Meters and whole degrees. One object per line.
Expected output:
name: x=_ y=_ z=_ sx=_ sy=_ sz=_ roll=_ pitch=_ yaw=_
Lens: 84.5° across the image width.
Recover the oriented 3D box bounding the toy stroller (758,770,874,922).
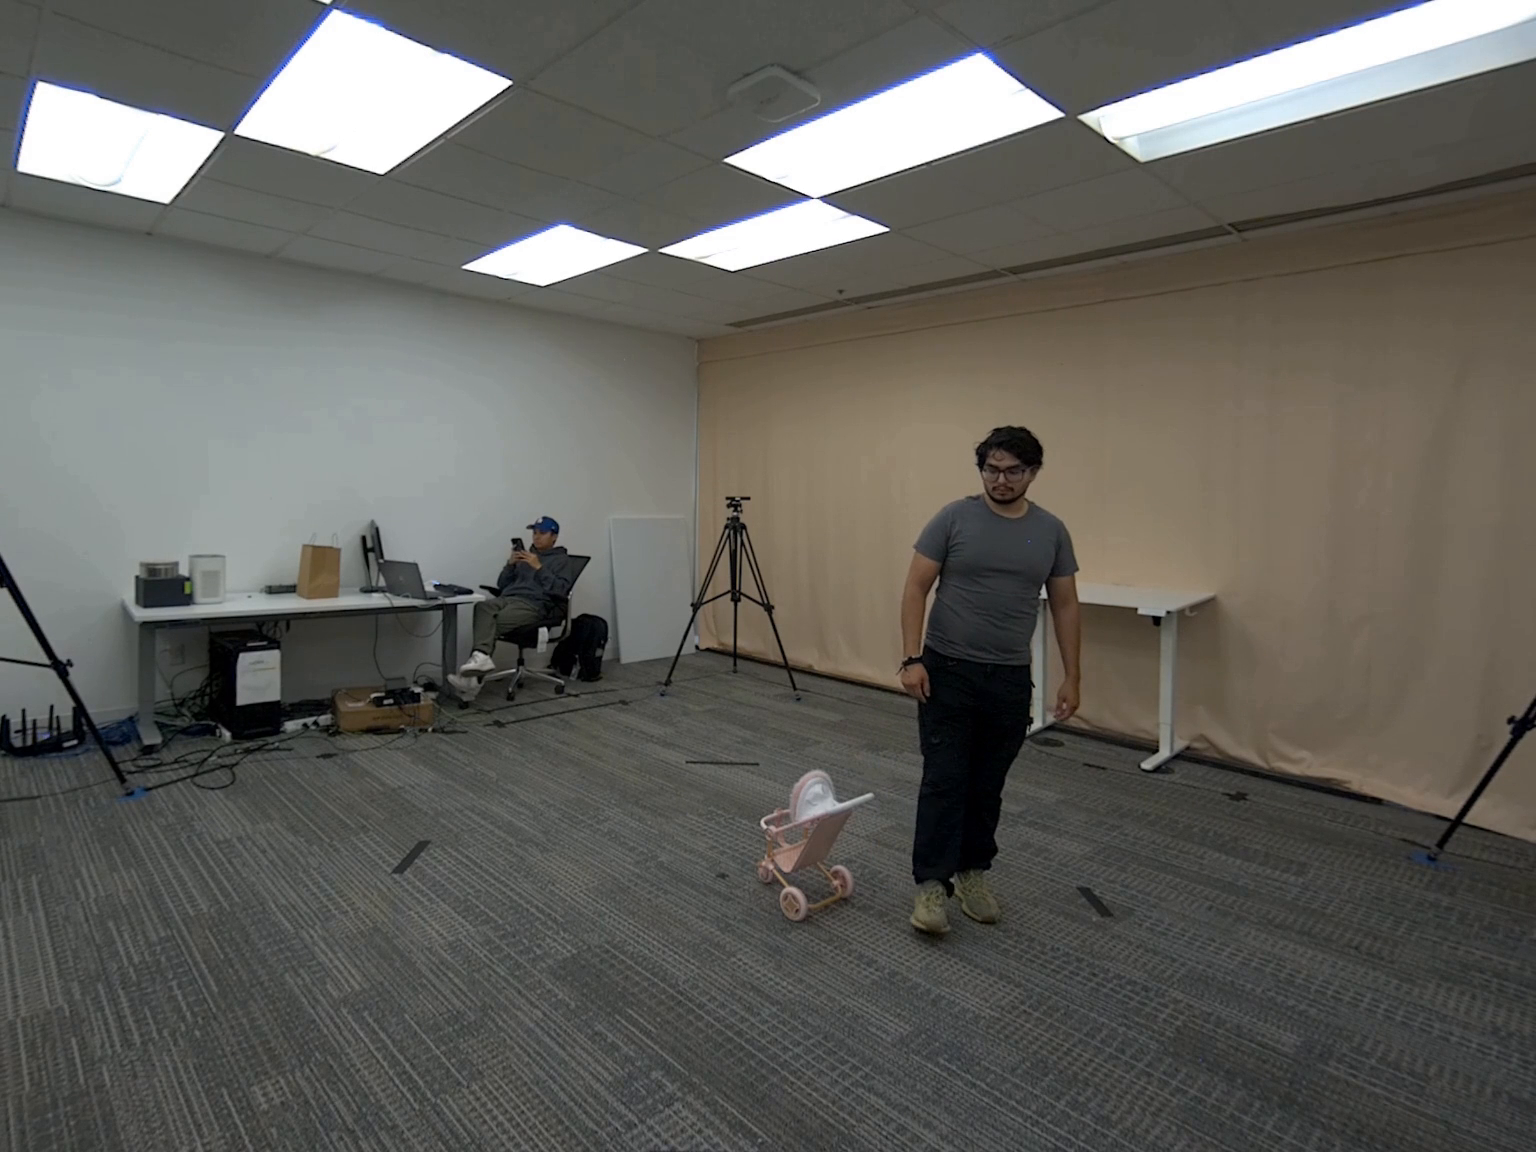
toy stroller: x=0.131 y=0.903 z=2.908 sx=0.275 sy=0.530 sz=0.352 roll=-1 pitch=21 yaw=-40
